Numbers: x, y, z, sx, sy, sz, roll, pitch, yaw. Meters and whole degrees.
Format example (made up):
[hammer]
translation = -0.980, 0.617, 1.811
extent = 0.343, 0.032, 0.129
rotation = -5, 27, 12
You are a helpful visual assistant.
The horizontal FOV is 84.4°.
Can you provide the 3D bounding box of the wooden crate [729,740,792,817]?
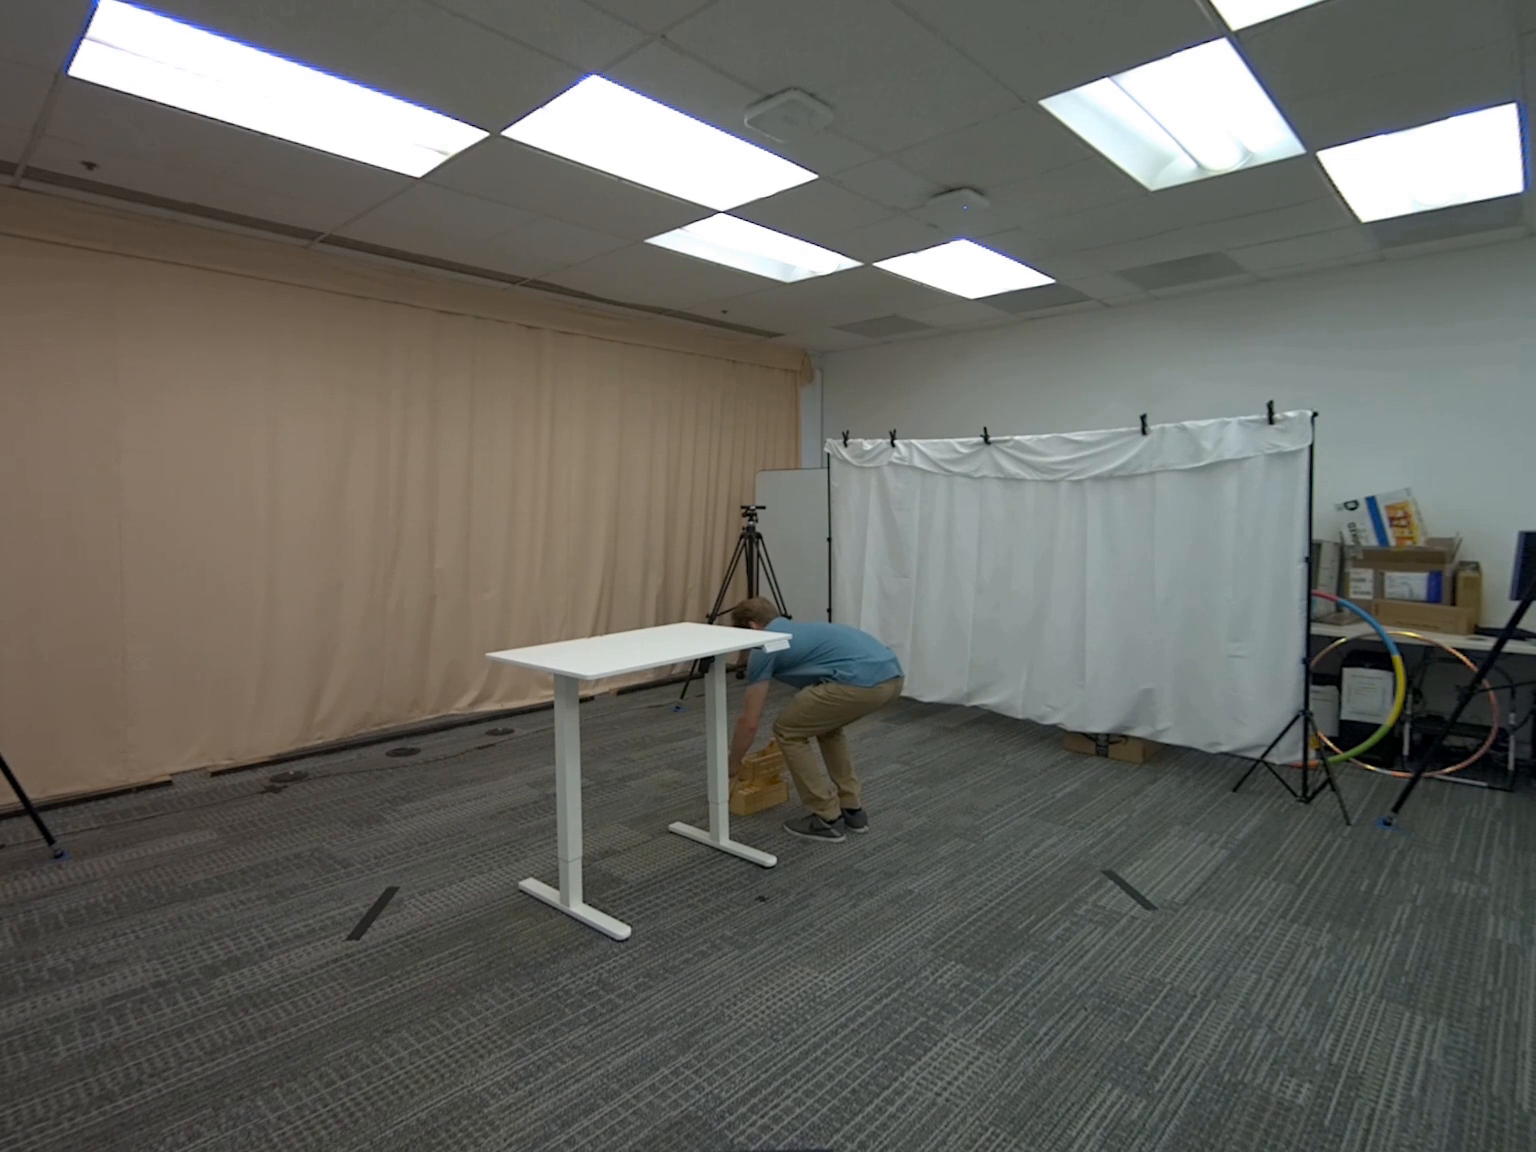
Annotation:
[wooden crate]
translation = -0.081, 0.933, 3.959
extent = 0.314, 0.272, 0.312
rotation = -4, 6, -45
